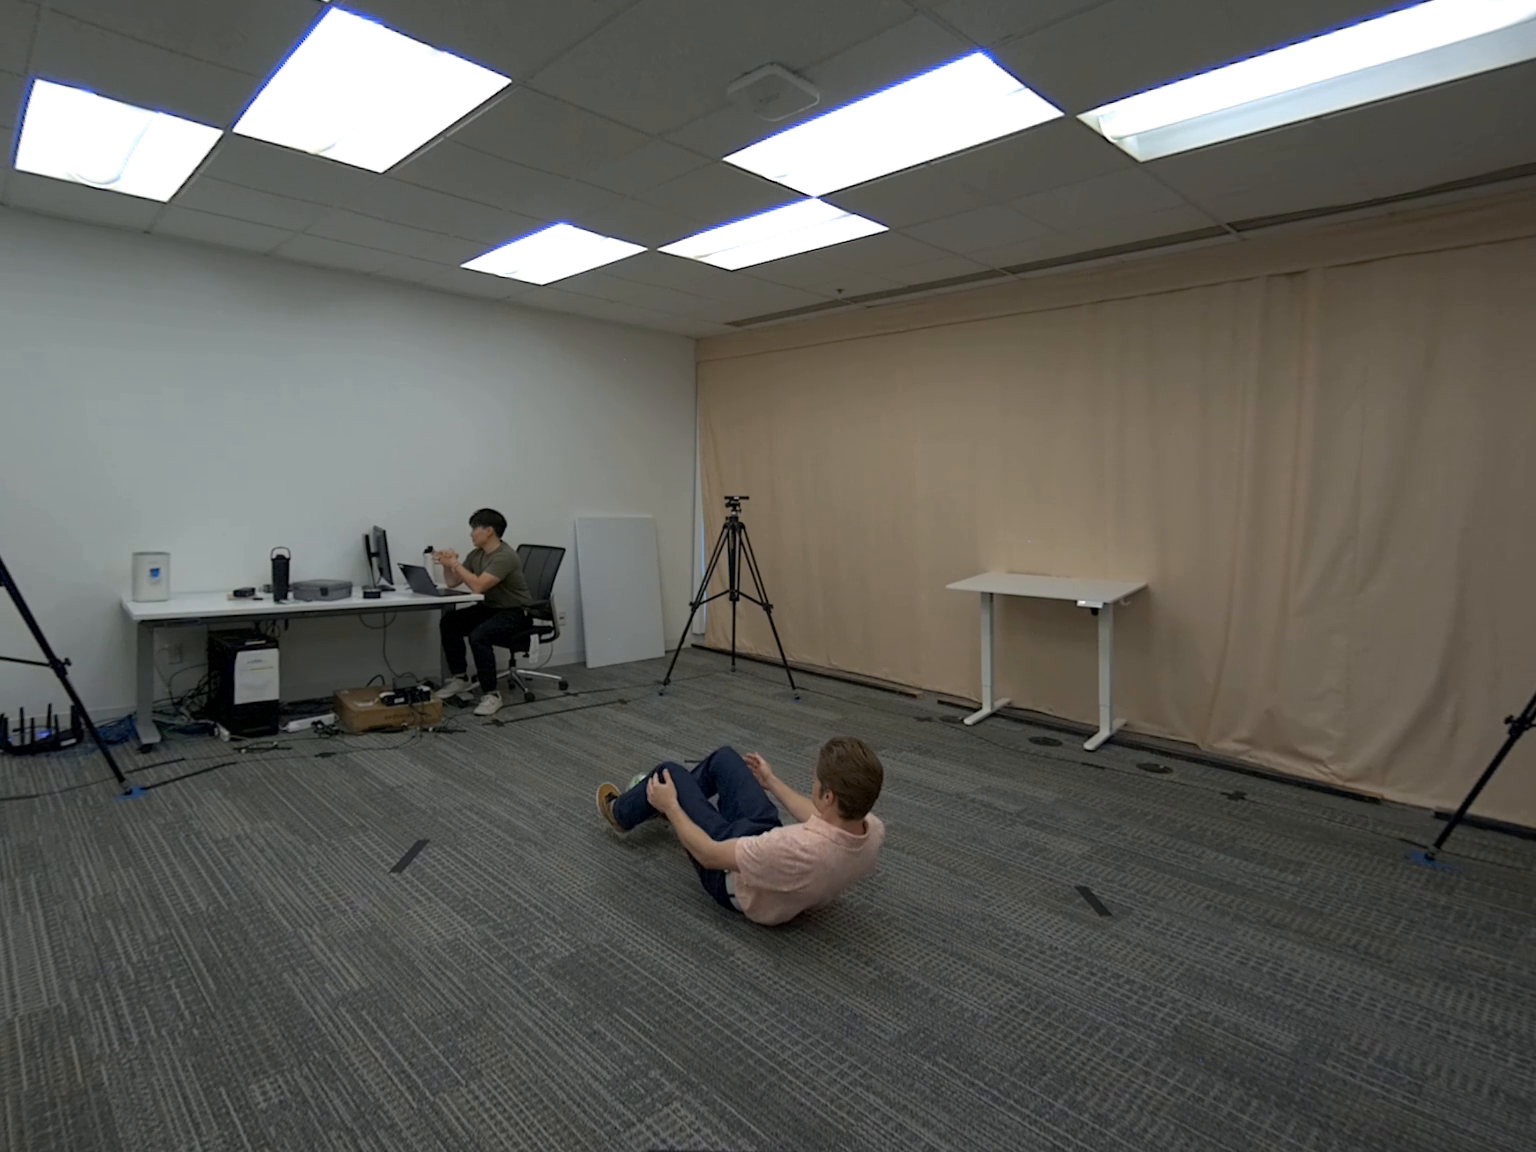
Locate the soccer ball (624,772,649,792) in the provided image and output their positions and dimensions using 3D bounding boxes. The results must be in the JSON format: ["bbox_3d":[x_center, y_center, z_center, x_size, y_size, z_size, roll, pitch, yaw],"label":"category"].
[{"bbox_3d":[-0.484,0.888,3.400,0.187,0.187,0.188,1,4,-1],"label":"soccer ball"}]
